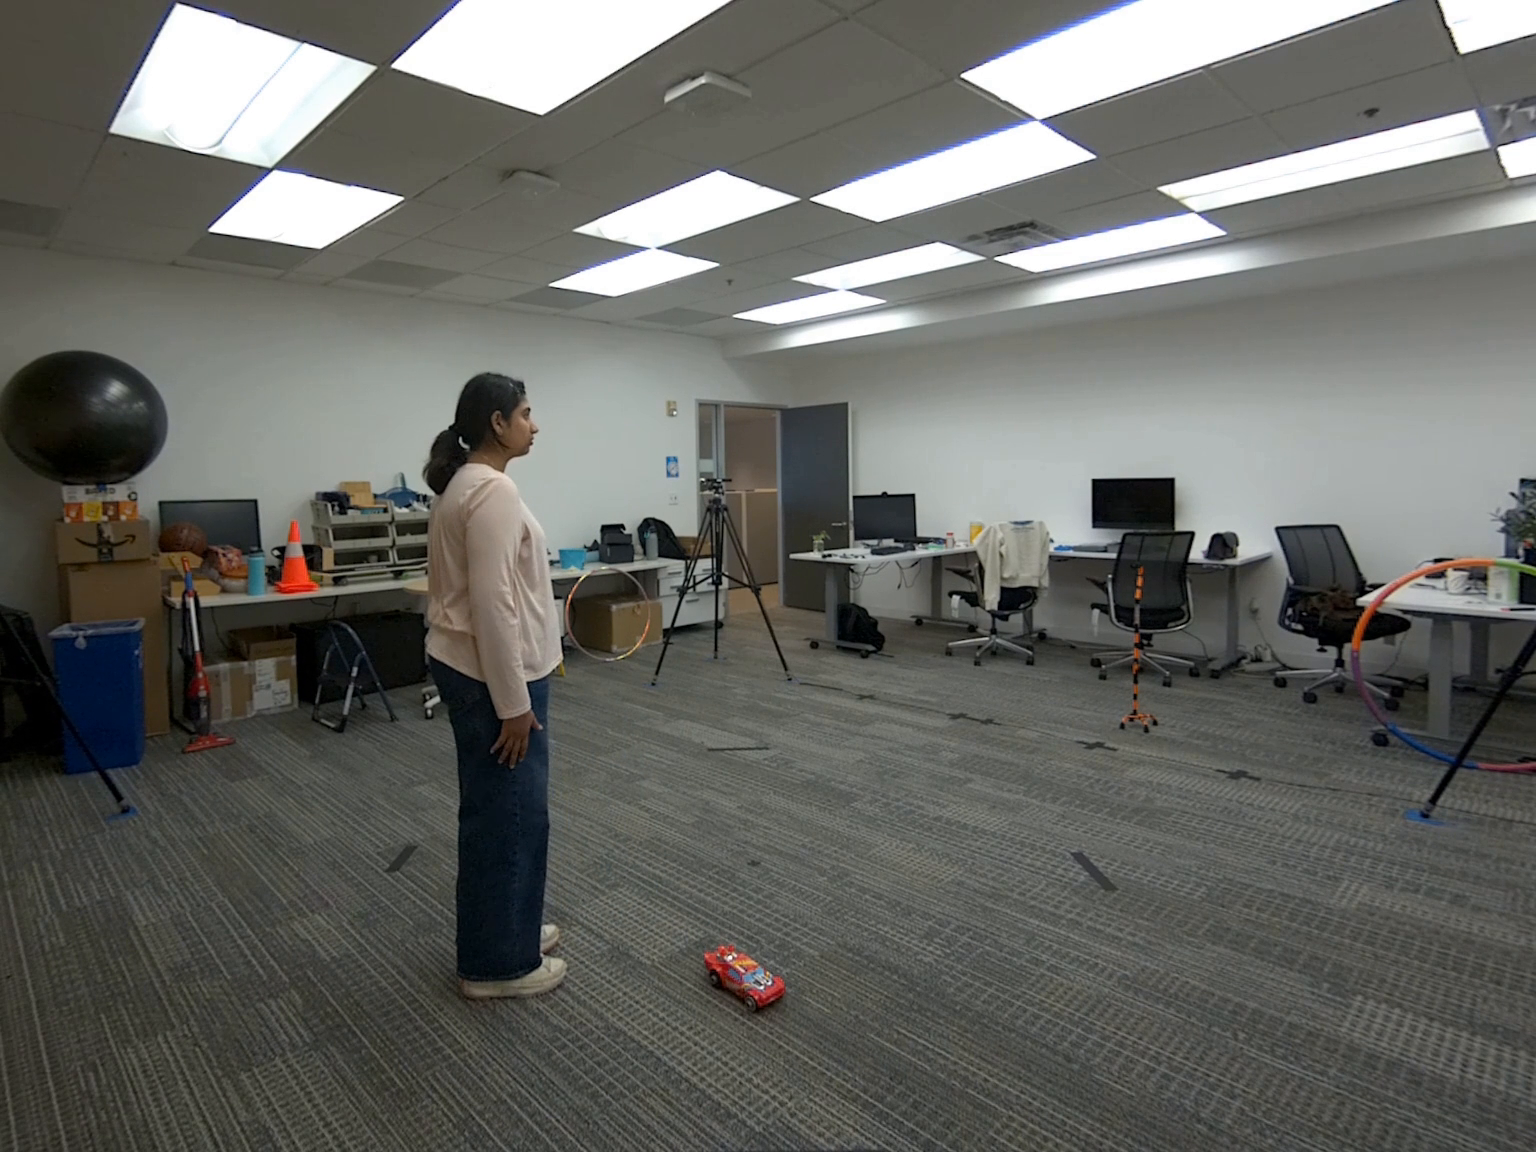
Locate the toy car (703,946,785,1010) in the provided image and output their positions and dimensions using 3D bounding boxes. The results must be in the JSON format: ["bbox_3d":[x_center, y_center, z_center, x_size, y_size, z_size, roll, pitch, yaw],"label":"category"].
[{"bbox_3d":[-0.067,1.101,2.350,0.127,0.082,0.264,-7,19,-40],"label":"toy car"}]
